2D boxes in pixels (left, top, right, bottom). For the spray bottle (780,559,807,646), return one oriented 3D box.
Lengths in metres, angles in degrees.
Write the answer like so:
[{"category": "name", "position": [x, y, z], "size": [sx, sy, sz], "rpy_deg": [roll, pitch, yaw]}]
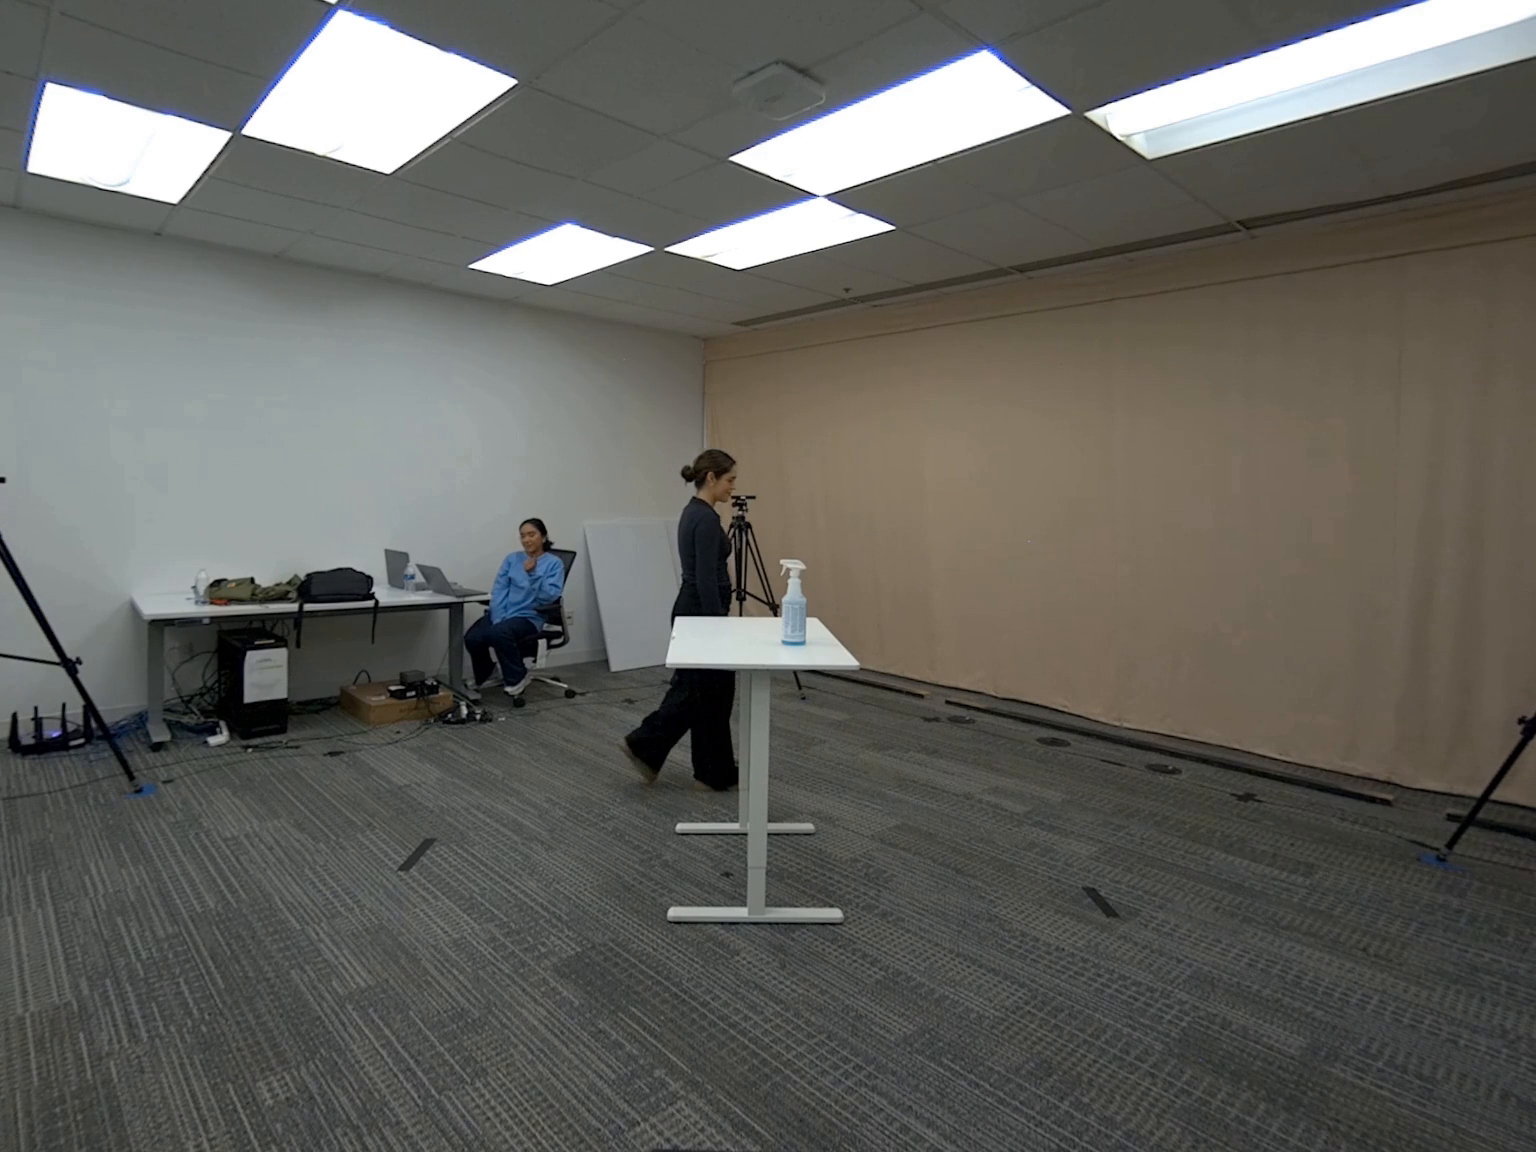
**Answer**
[{"category": "spray bottle", "position": [0.086, 0.095, 2.949], "size": [0.091, 0.296, 0.086], "rpy_deg": [0, 4, 20]}]
